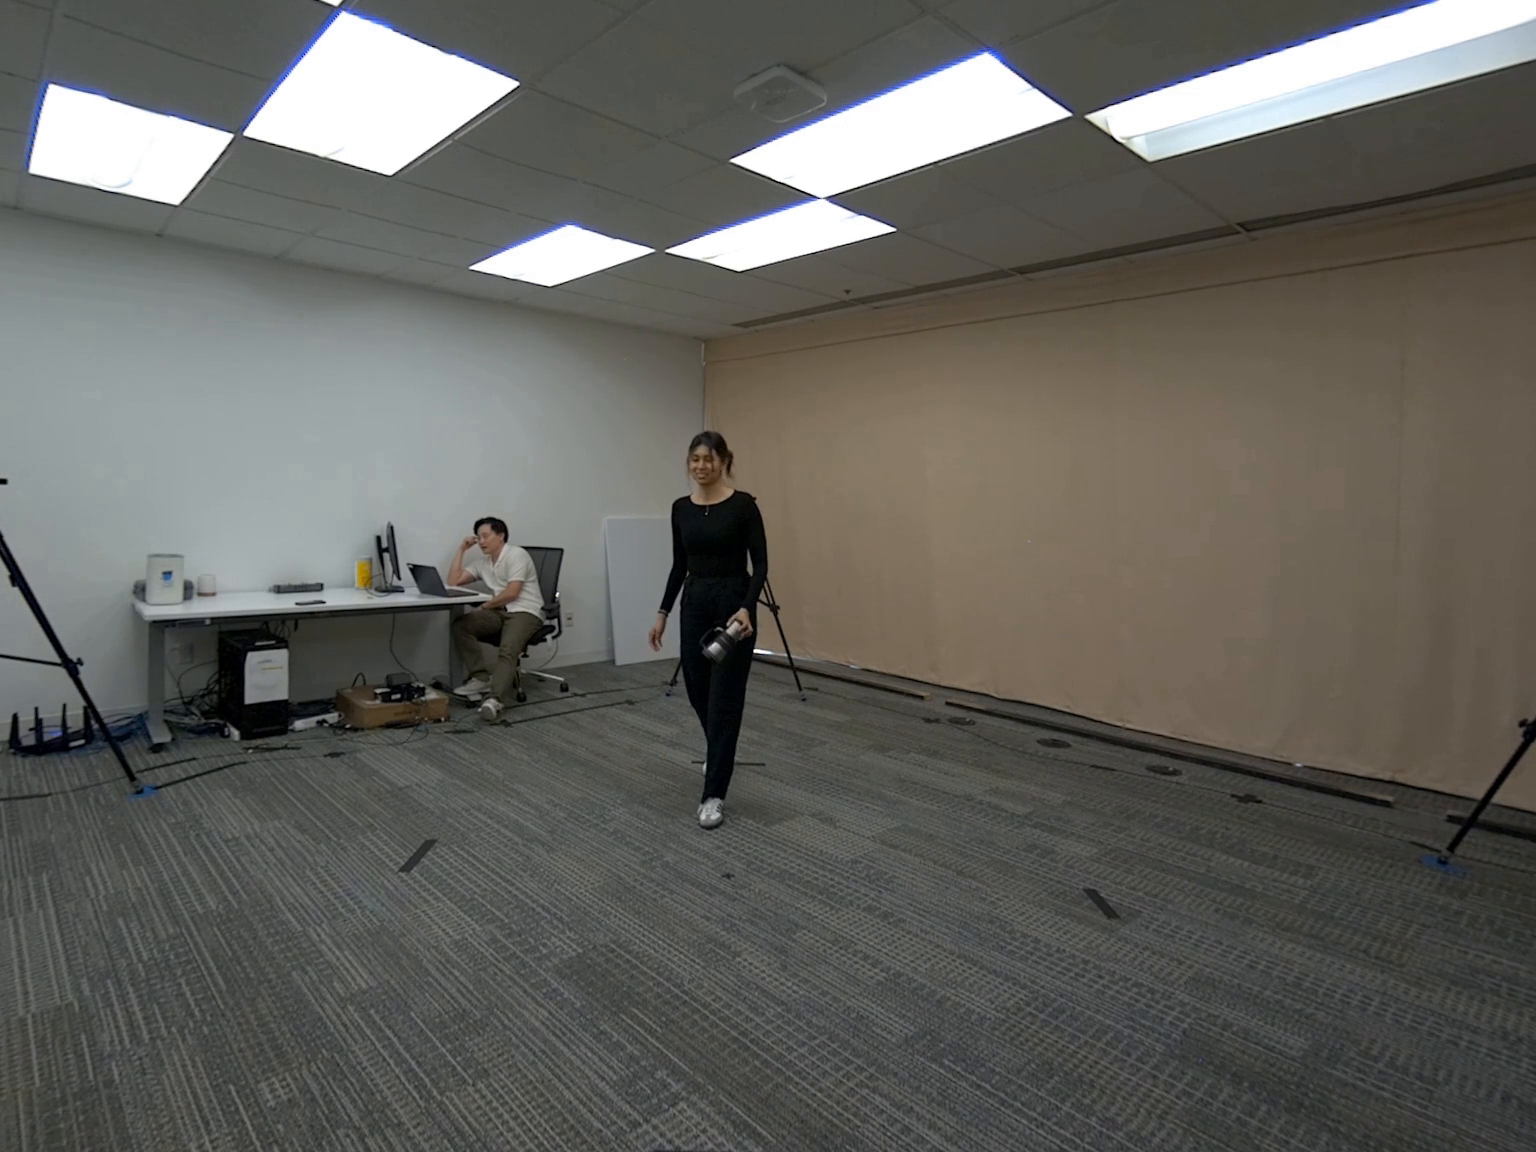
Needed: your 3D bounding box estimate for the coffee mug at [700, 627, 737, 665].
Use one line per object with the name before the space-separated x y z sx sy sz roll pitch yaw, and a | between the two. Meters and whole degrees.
coffee mug | -0.212 0.246 3.542 0.120 0.203 0.089 42 0 -16
